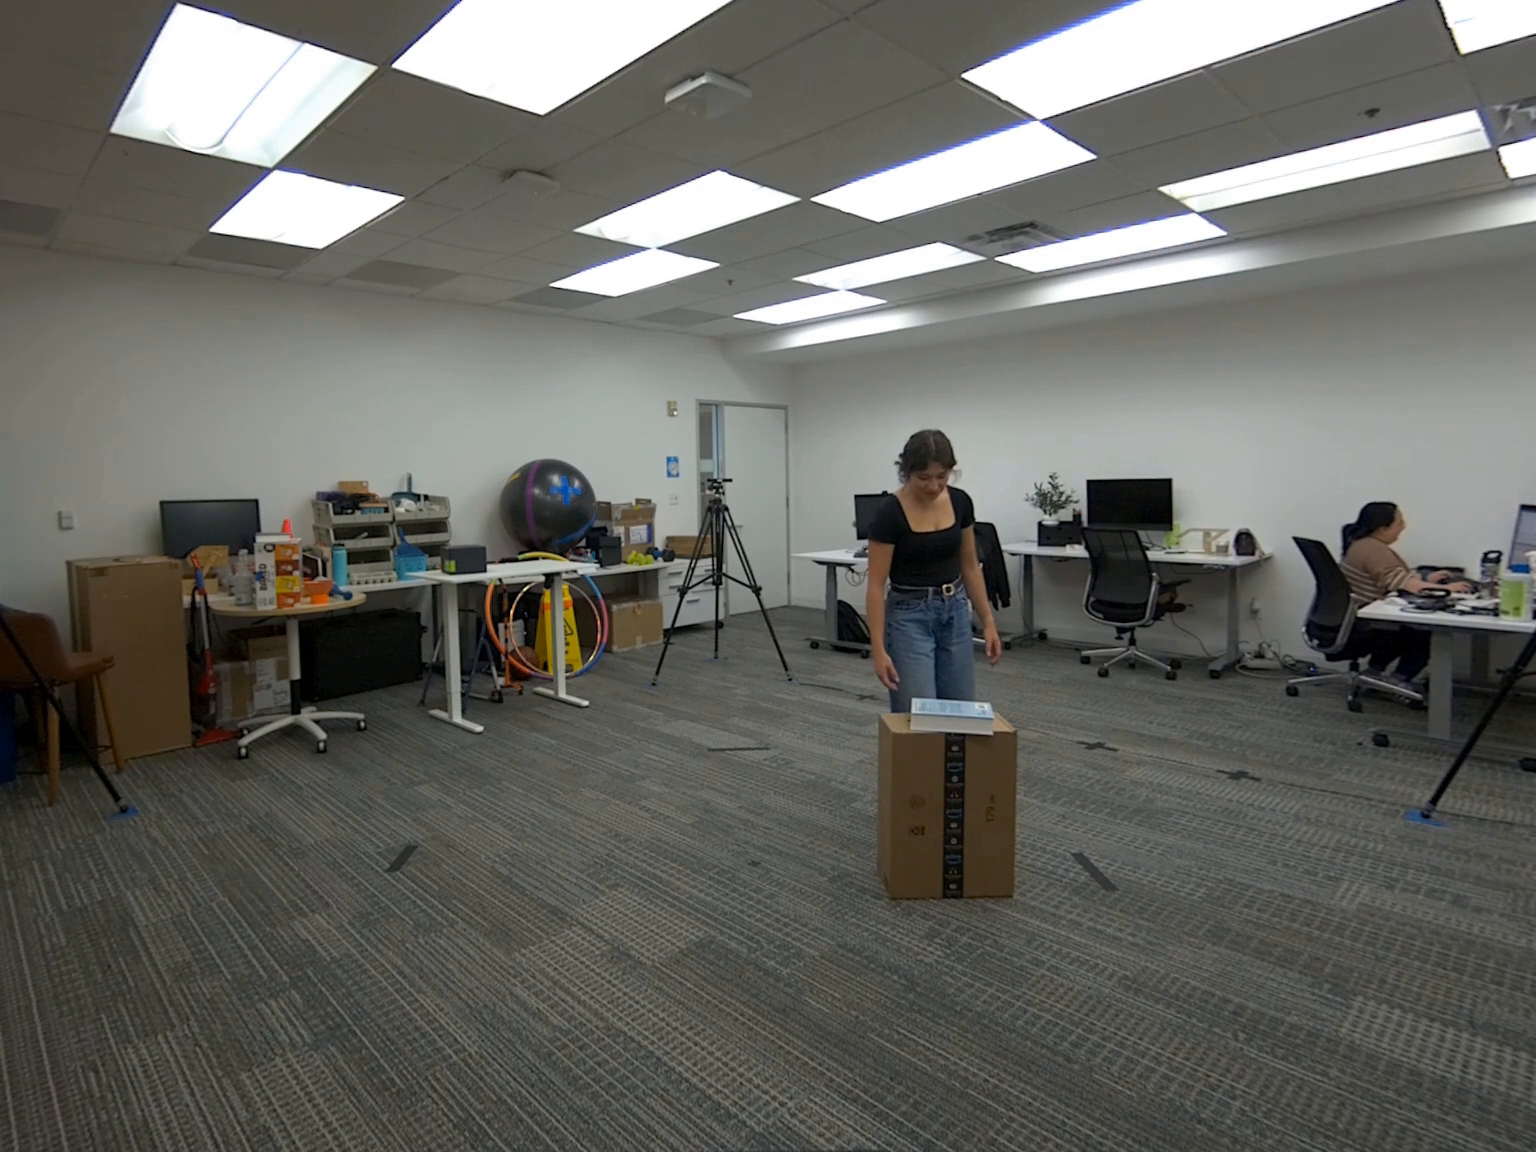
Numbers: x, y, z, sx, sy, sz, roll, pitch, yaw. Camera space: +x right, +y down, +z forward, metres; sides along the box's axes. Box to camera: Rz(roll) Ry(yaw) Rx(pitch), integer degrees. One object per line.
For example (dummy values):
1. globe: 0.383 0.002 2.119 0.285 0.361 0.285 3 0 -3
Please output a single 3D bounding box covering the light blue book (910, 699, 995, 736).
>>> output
1. light blue book: 0.626 0.475 2.876 0.264 0.059 0.190 1 7 12
